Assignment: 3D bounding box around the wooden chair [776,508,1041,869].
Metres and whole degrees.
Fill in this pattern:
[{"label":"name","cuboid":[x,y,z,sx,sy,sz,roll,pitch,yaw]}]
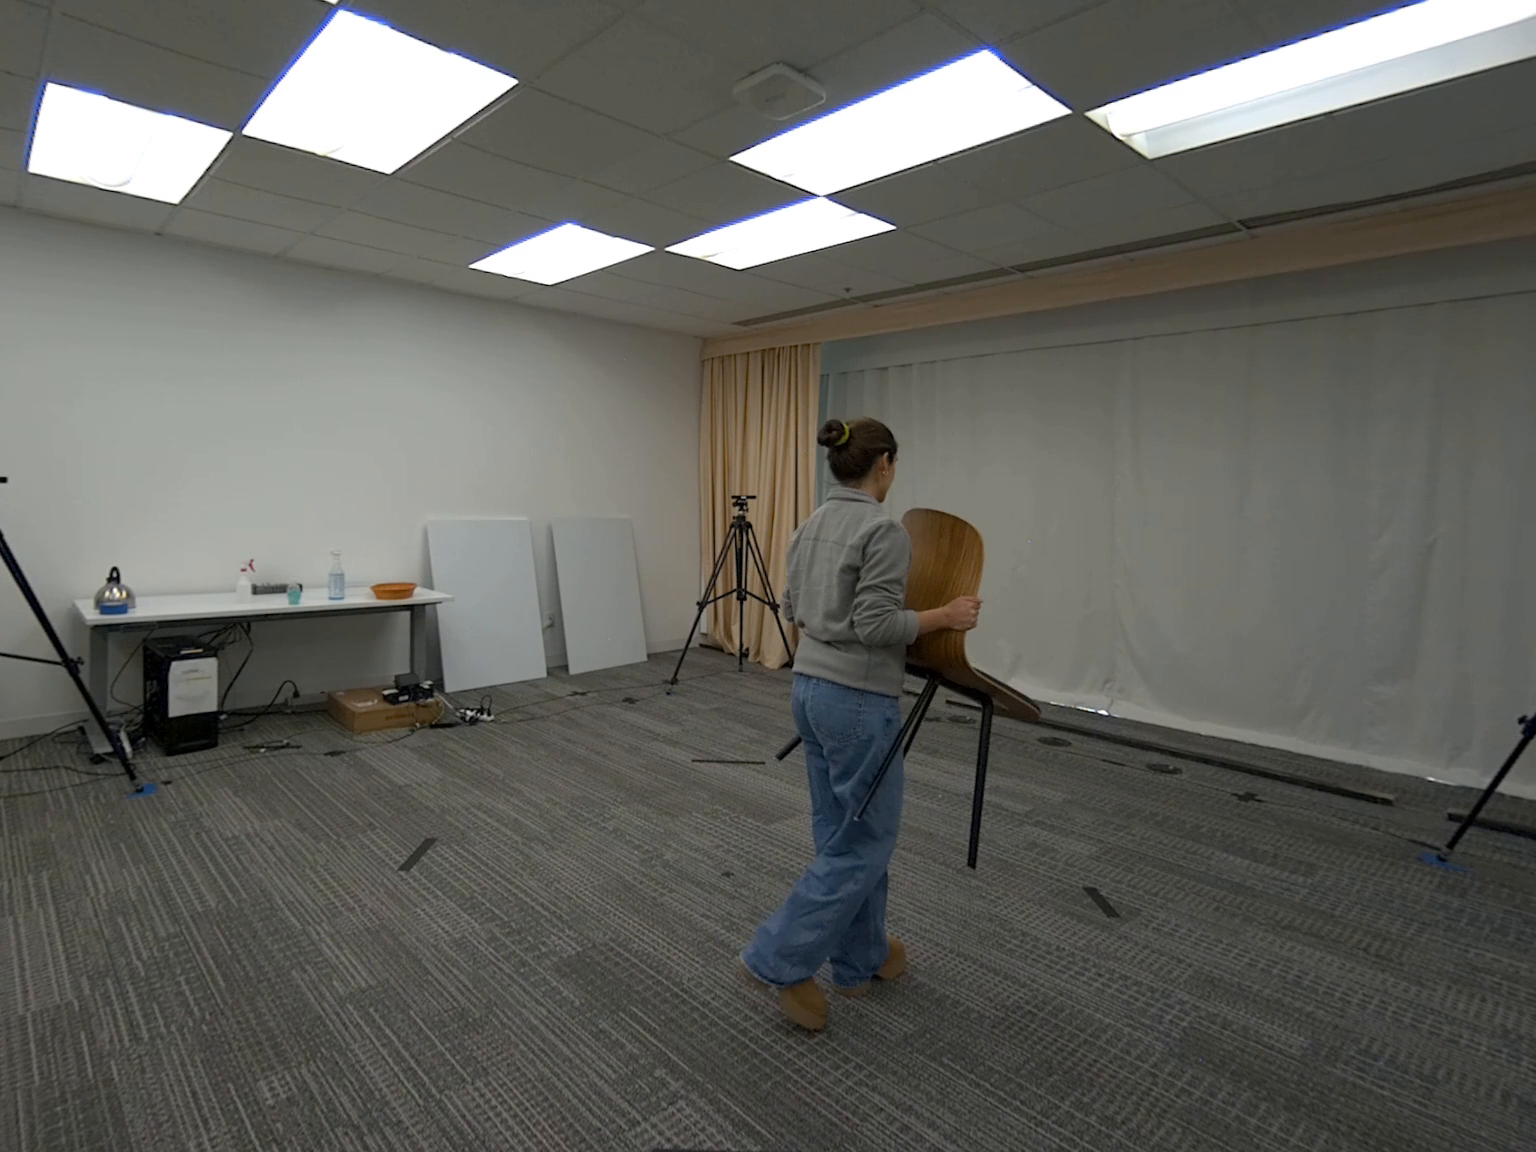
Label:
[{"label":"wooden chair","cuboid":[0.484,0.307,2.472,0.510,0.879,0.489,25,-5,-28]}]
